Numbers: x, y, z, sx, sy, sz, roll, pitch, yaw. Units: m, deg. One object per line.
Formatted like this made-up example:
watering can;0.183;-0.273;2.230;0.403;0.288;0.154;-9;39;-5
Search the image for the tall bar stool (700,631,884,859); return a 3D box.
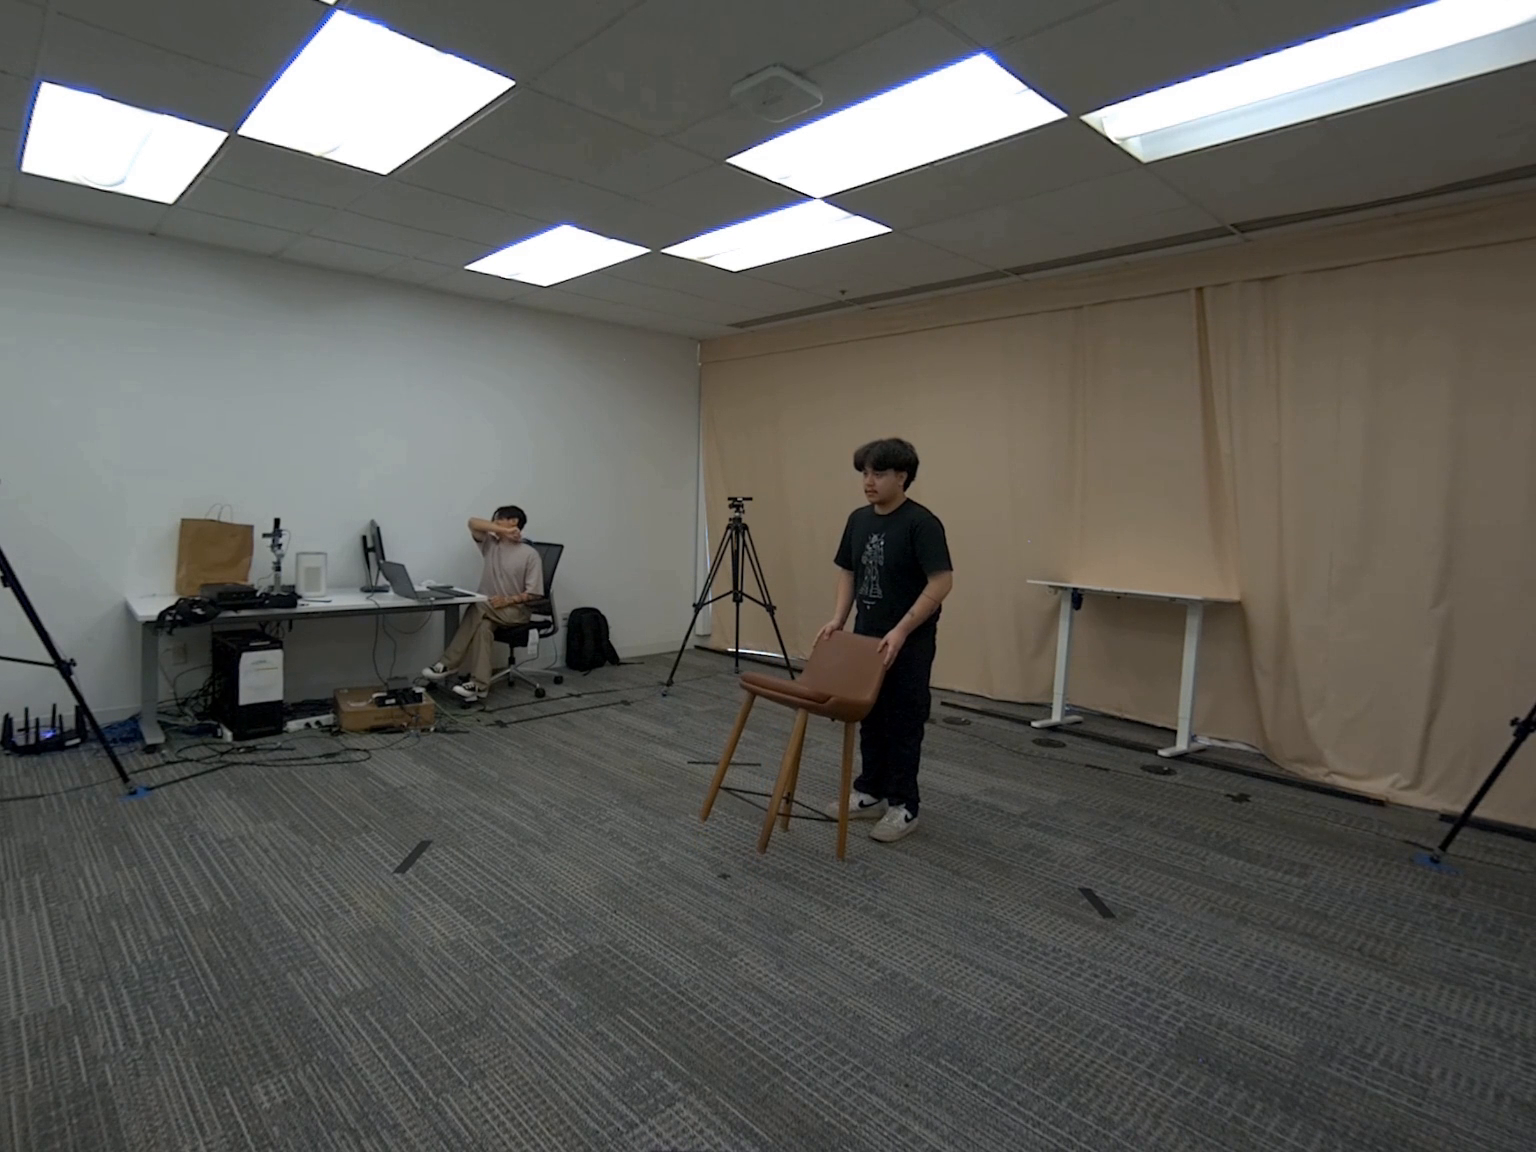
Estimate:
tall bar stool;0.121;0.615;3.349;0.454;0.893;0.468;21;-9;-36
